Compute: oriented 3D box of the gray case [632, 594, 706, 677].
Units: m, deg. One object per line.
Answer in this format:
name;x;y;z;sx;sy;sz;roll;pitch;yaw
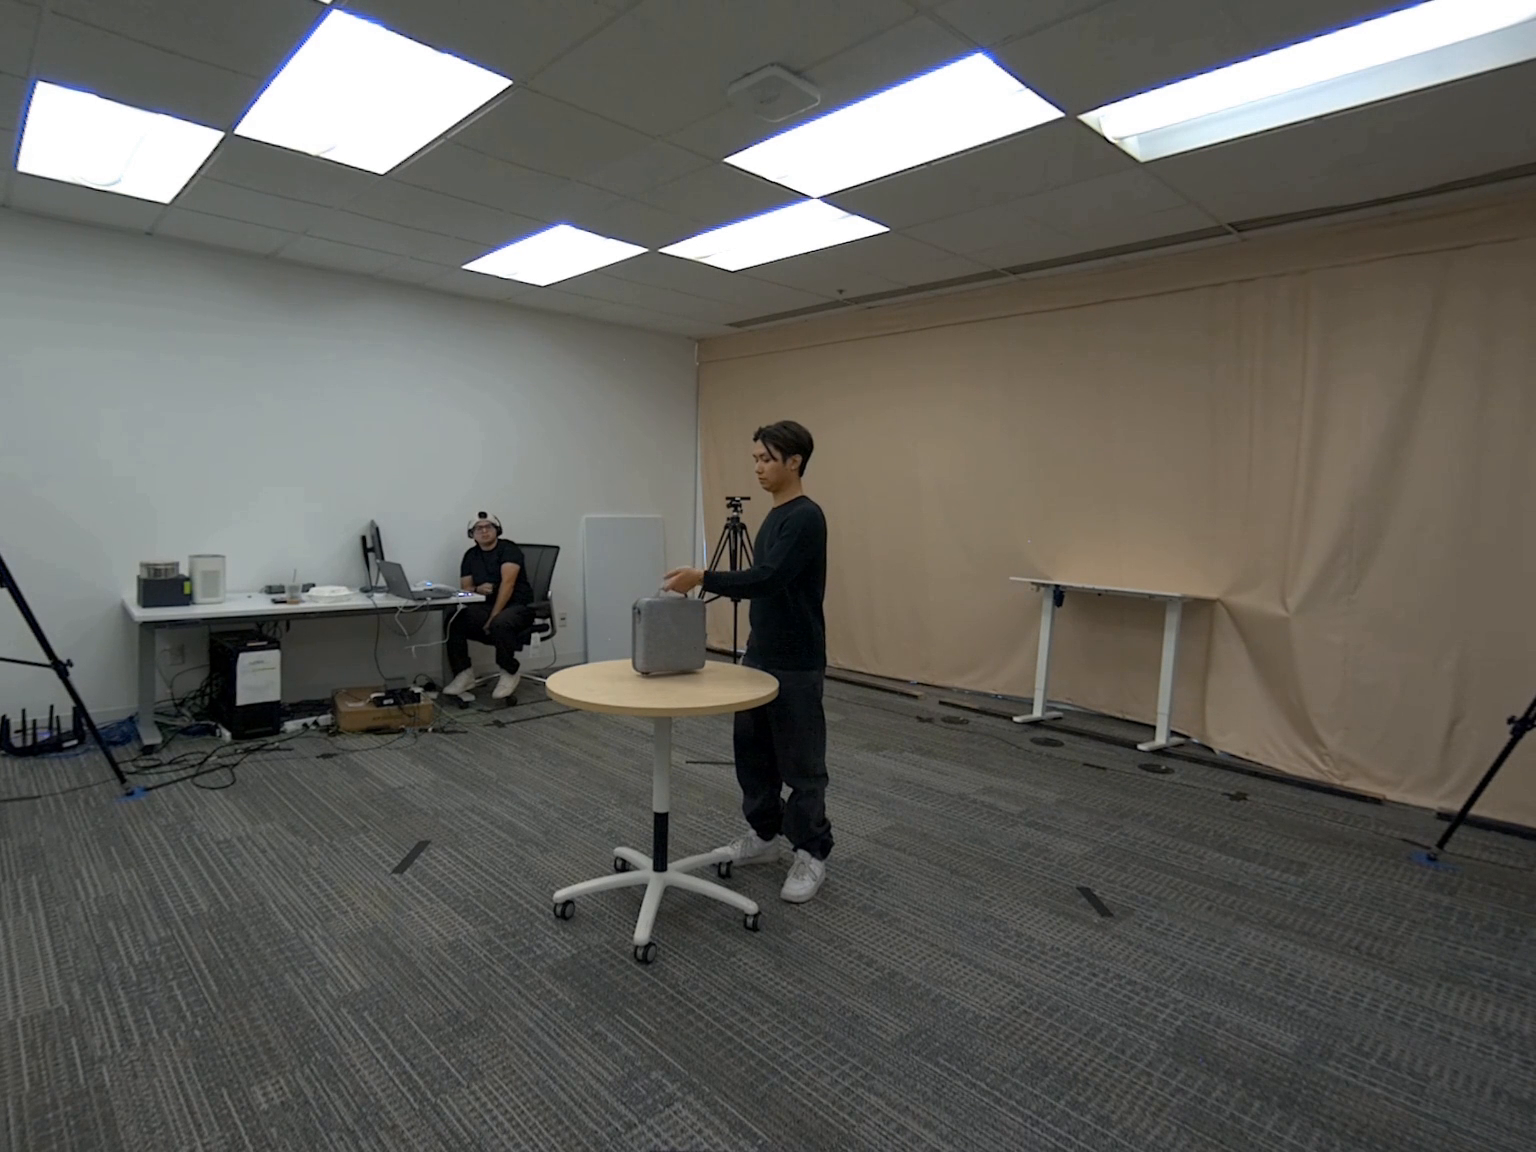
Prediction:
gray case;-0.340;0.197;2.886;0.251;0.261;0.106;1;-1;-32
